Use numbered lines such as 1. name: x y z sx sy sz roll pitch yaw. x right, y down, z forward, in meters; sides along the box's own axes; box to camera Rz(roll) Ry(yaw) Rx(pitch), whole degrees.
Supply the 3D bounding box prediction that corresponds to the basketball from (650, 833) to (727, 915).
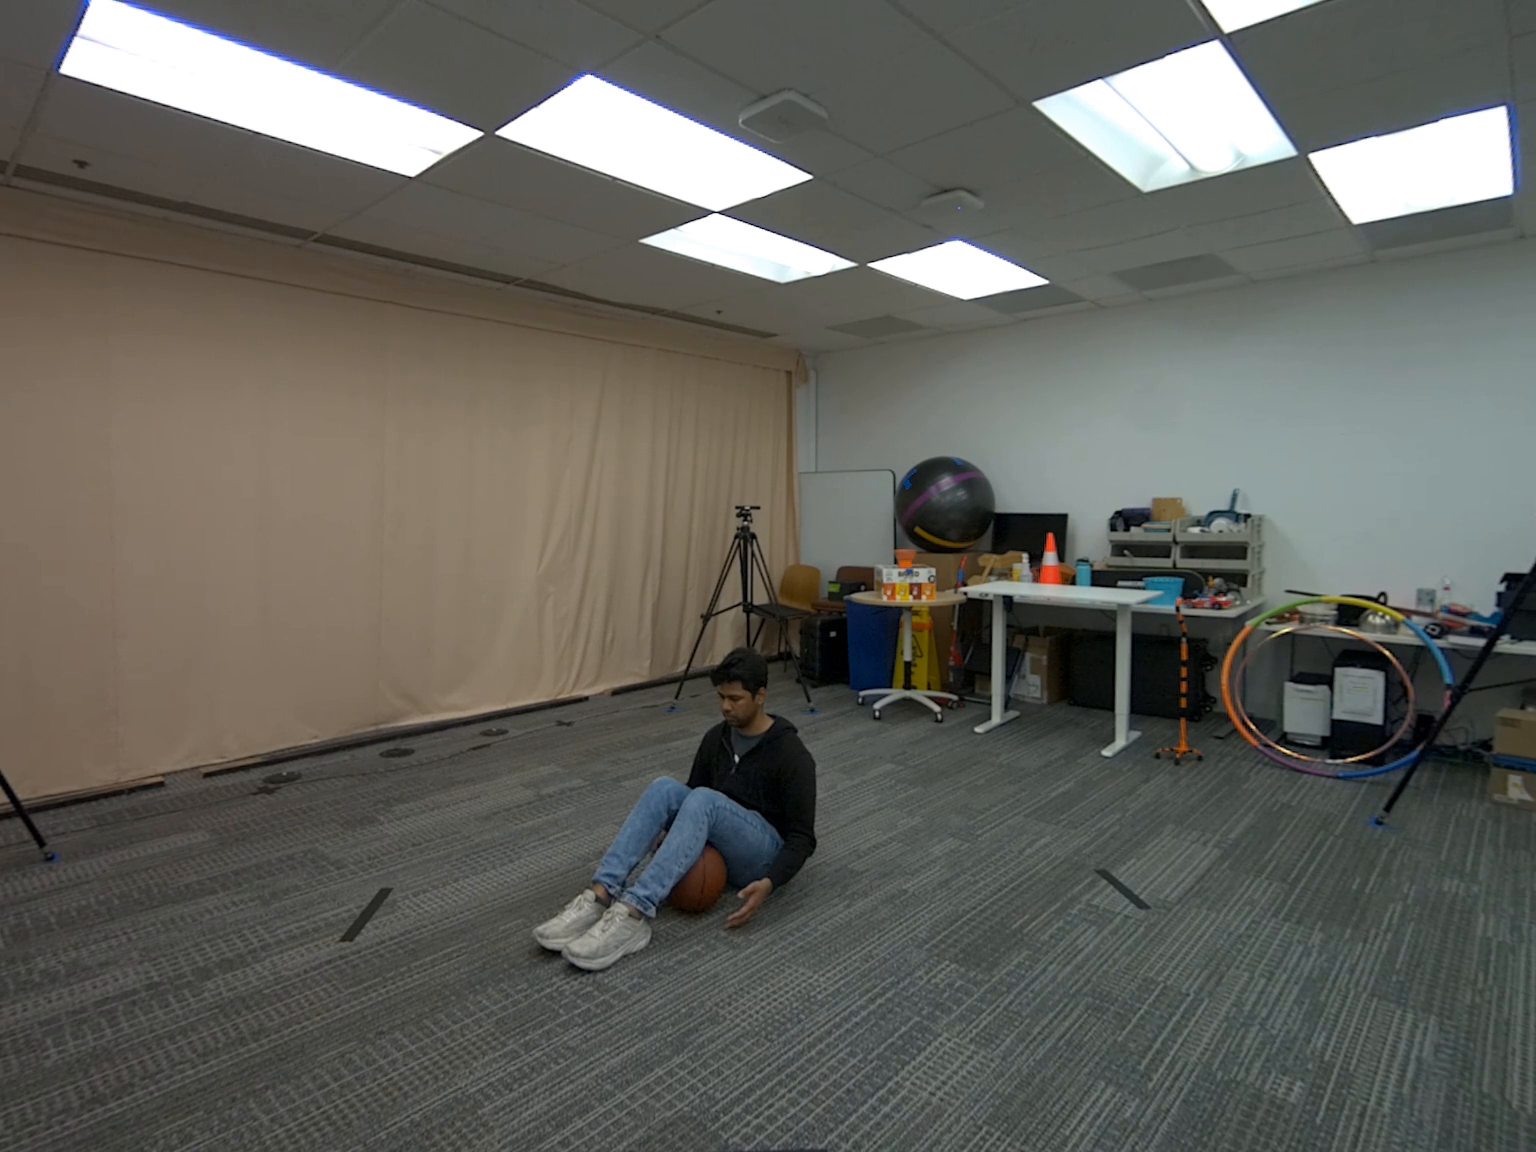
1. basketball: -0.271 1.026 2.915 0.236 0.235 0.237 0 4 -2
